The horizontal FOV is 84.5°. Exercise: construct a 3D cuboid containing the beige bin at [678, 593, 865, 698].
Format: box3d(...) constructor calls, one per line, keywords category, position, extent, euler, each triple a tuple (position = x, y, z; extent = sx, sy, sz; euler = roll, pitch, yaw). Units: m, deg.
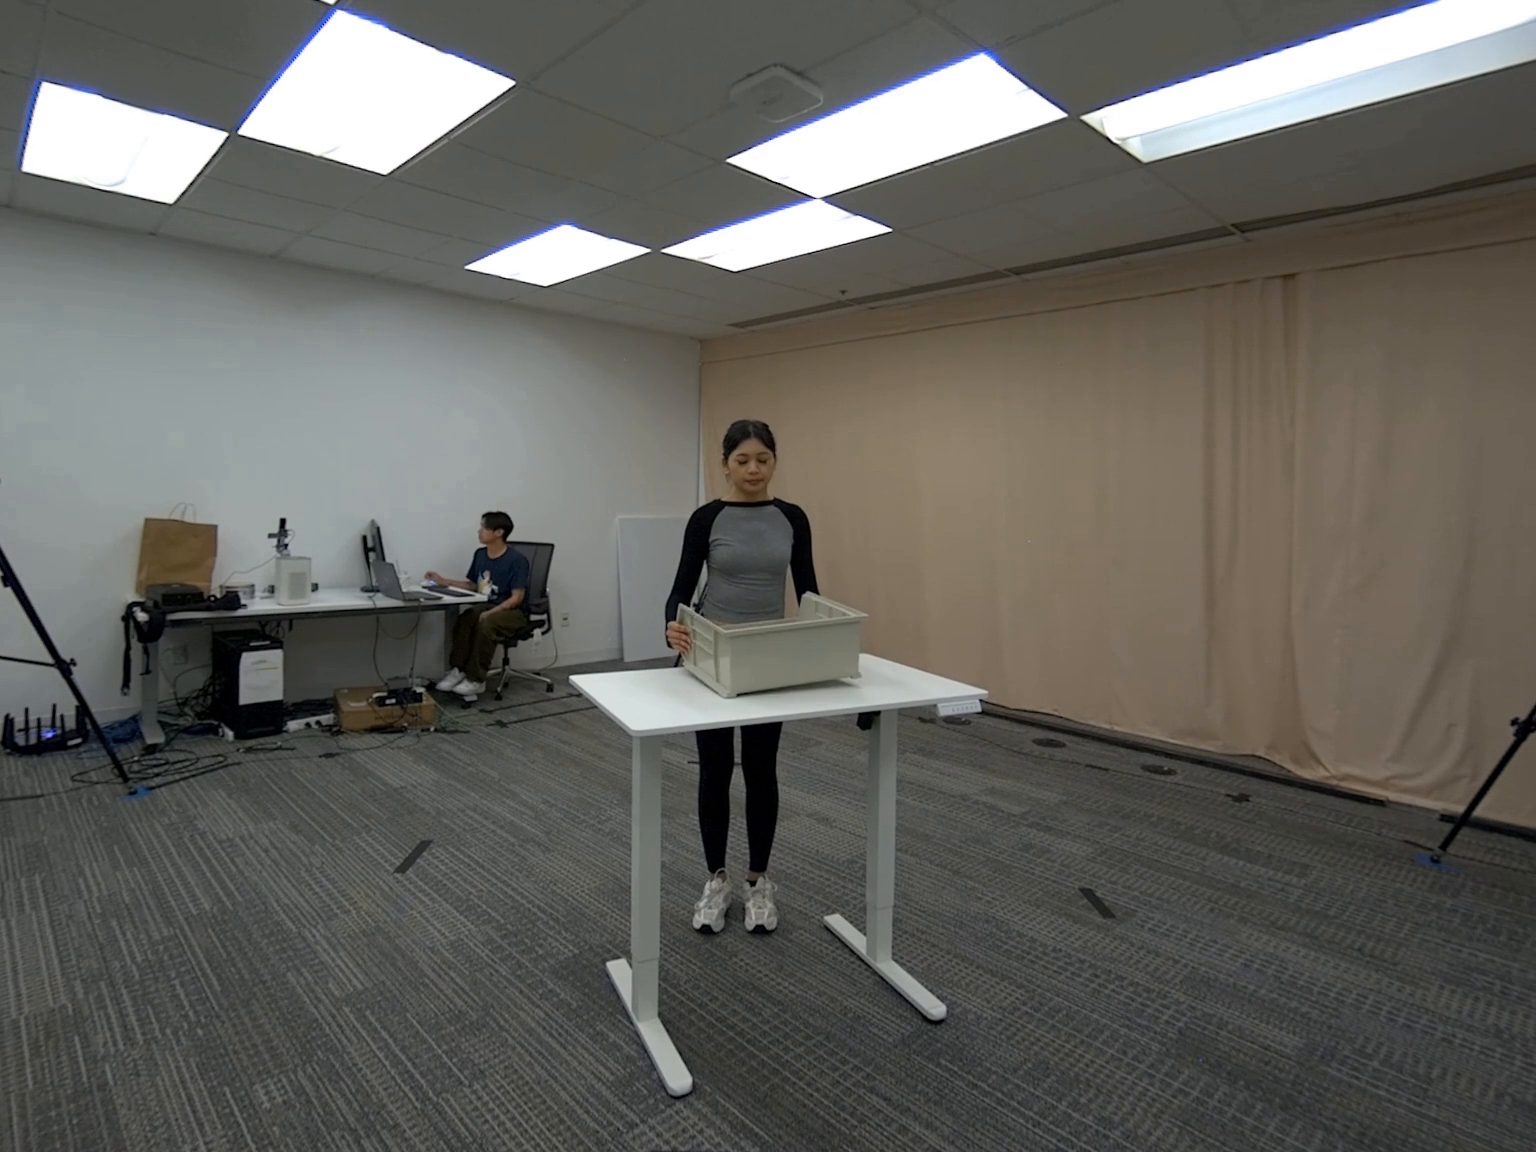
box3d(category="beige bin", position=(-0.013, 0.179, 2.367), extent=(0.415, 0.187, 0.386), euler=(-4, 12, -25))
